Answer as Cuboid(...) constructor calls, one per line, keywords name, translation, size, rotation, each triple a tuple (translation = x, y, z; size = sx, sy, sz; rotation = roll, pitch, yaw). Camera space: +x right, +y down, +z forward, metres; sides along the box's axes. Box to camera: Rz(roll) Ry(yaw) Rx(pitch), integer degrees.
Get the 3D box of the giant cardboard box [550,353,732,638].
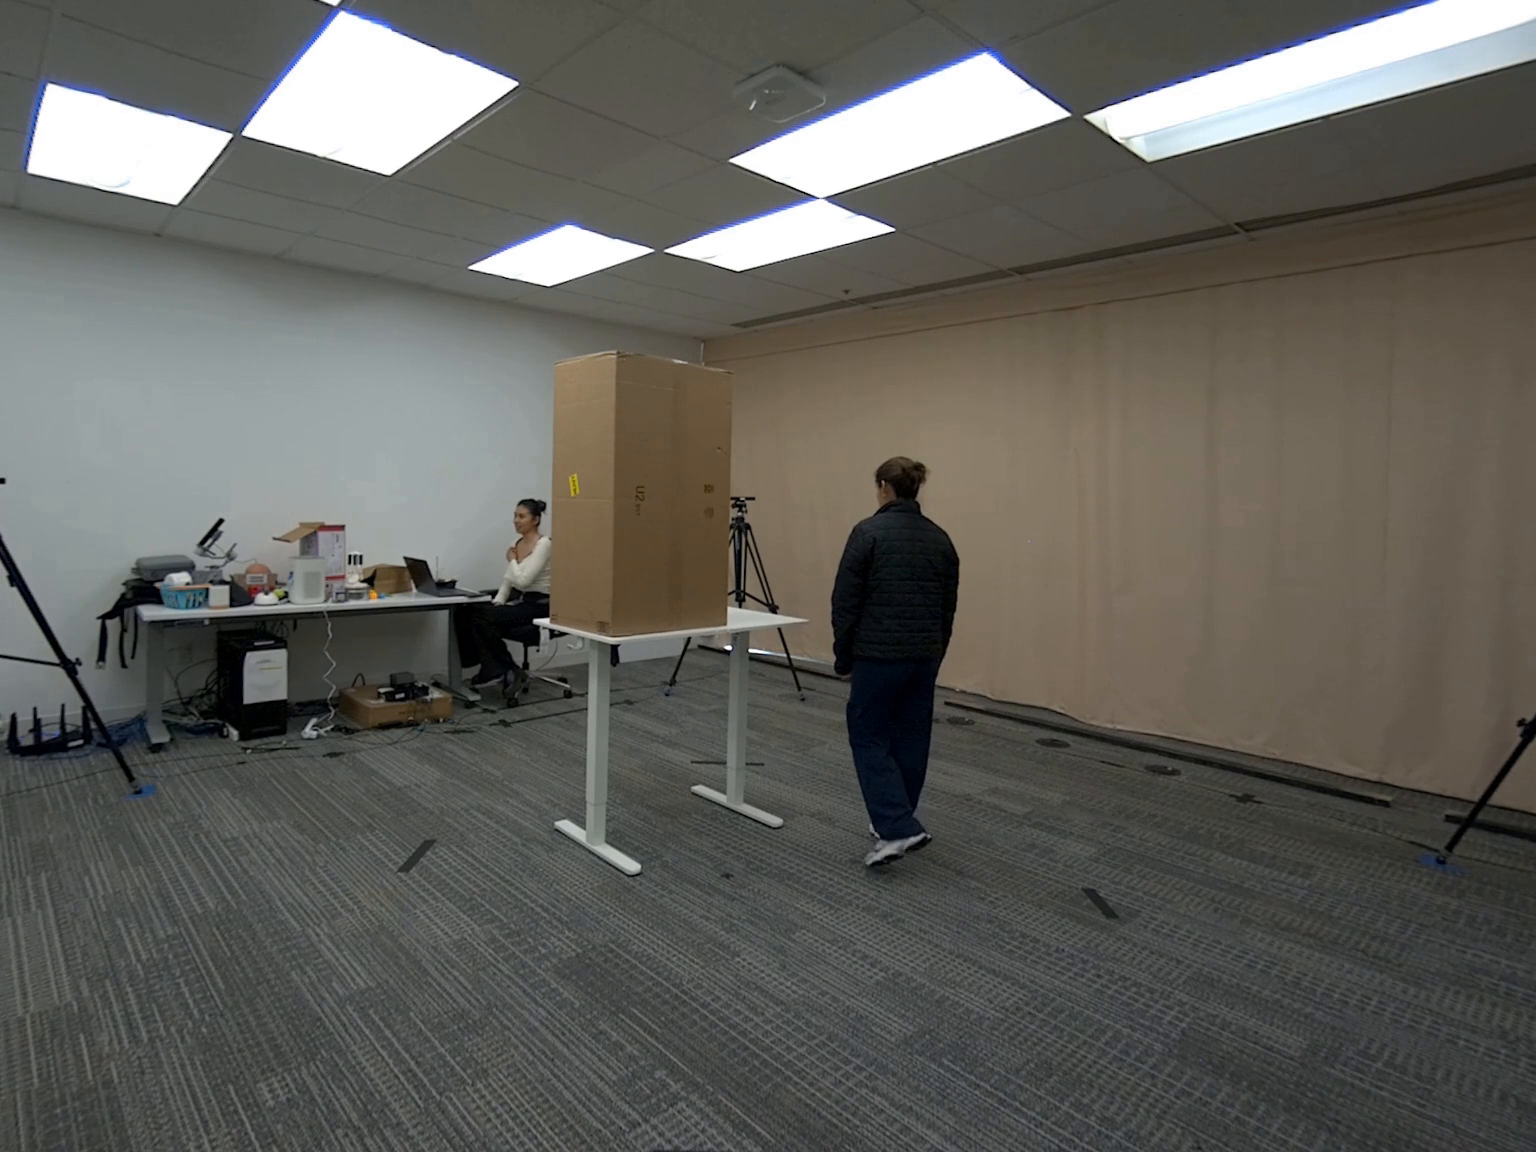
Cuboid(name="giant cardboard box", translation=(-0.504, -0.311, 3.322), size=(0.564, 1.024, 0.437), rotation=(-2, 4, -45))
